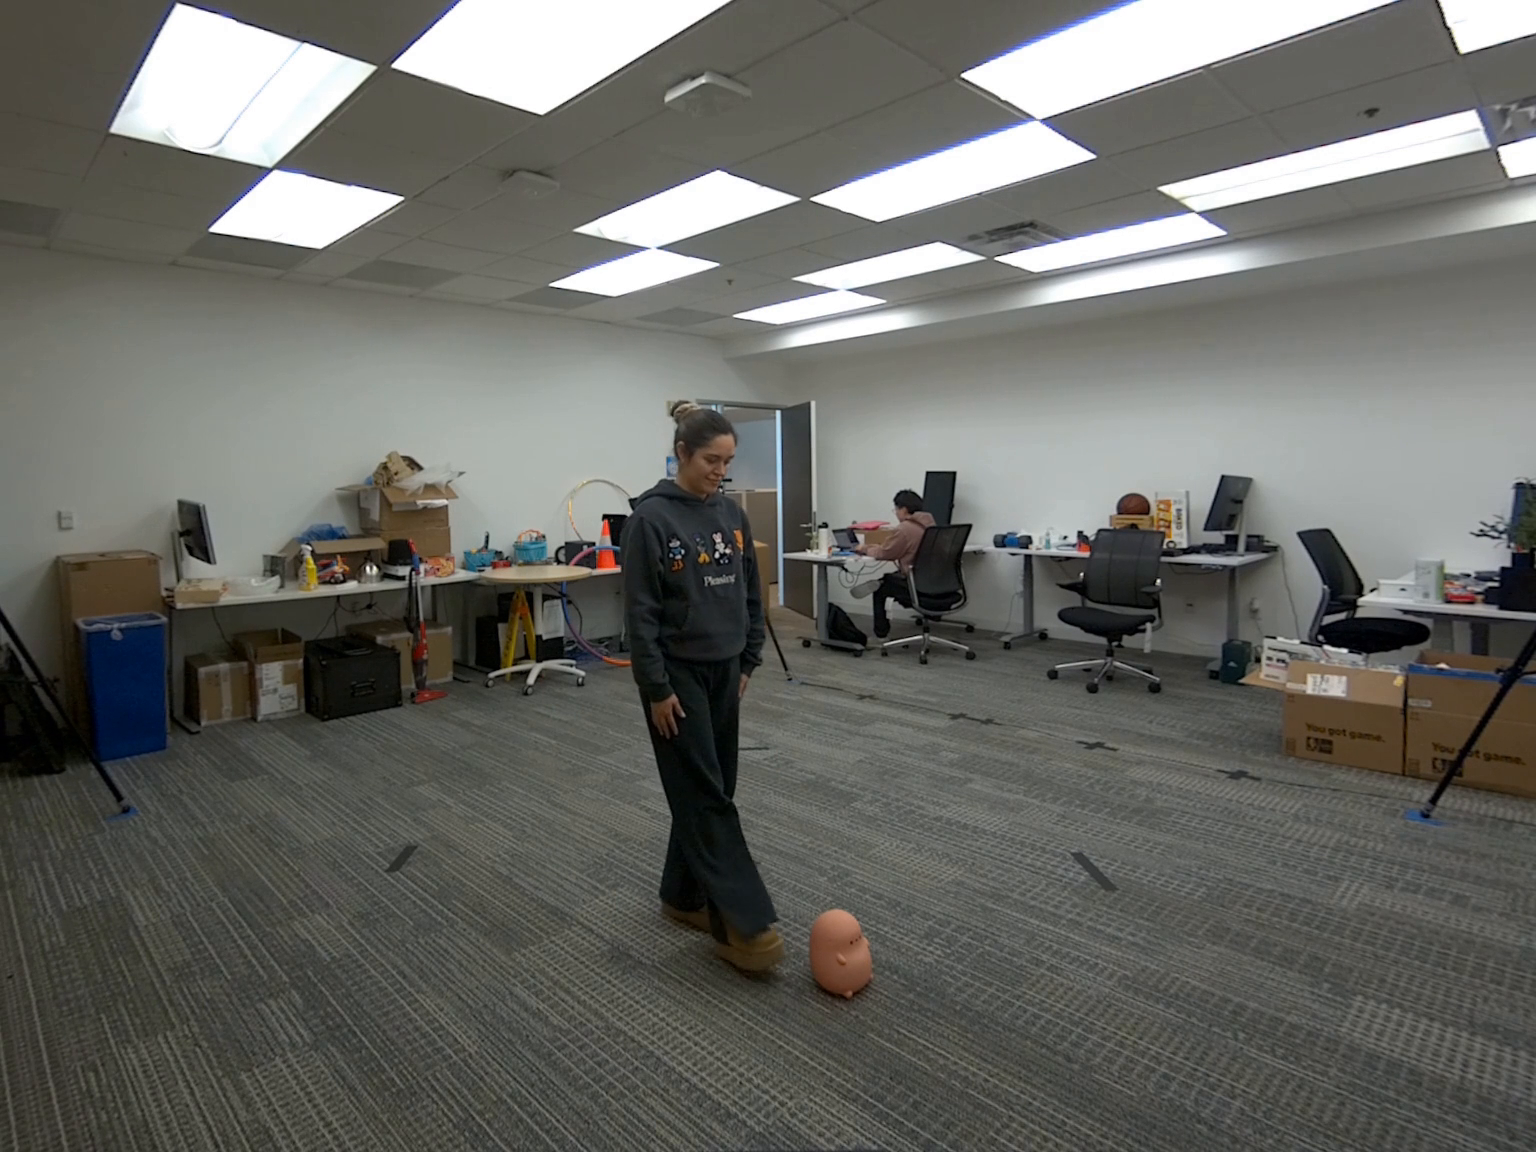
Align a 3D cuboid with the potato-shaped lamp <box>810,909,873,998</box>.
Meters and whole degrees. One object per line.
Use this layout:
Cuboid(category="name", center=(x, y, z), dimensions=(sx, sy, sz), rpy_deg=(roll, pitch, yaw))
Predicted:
Cuboid(category="potato-shaped lamp", center=(0.200, 1.024, 2.342), dimensions=(0.176, 0.197, 0.160), rpy_deg=(2, 6, 45))
